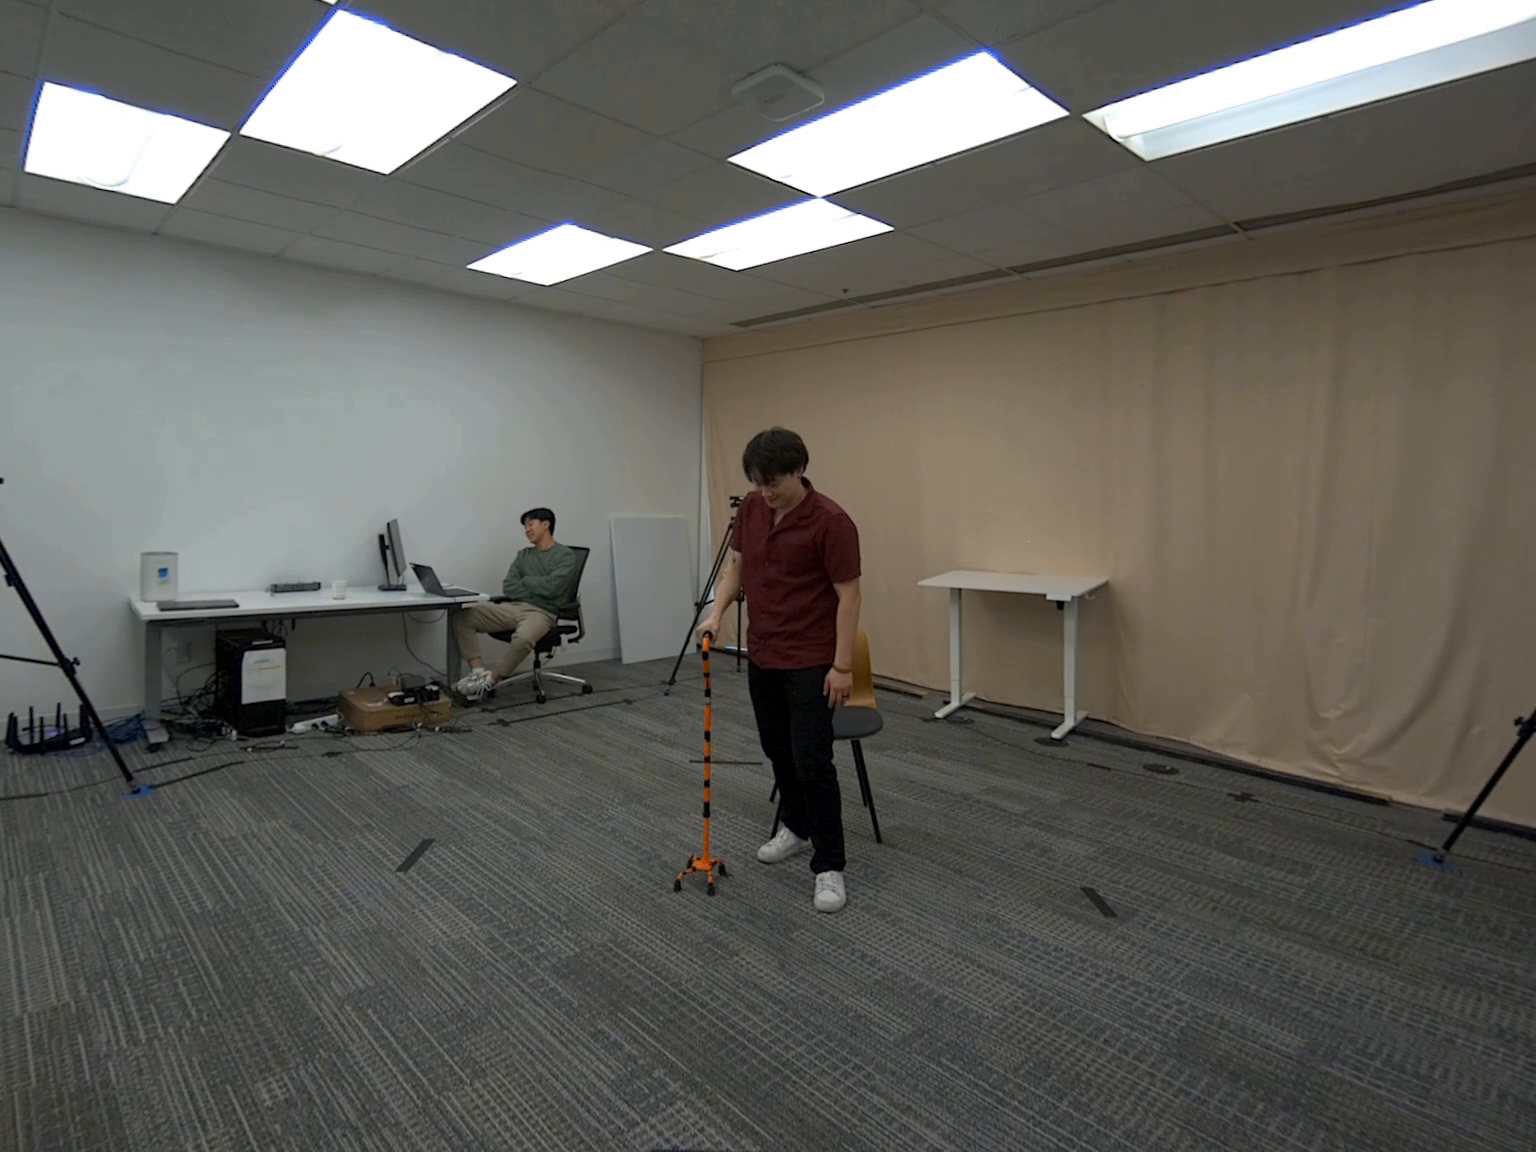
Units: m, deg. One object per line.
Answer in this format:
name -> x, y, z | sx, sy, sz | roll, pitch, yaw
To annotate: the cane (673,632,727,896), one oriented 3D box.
cane -> -0.234, 0.642, 3.052 | 0.152, 0.906, 0.206 | 0, 3, 6
